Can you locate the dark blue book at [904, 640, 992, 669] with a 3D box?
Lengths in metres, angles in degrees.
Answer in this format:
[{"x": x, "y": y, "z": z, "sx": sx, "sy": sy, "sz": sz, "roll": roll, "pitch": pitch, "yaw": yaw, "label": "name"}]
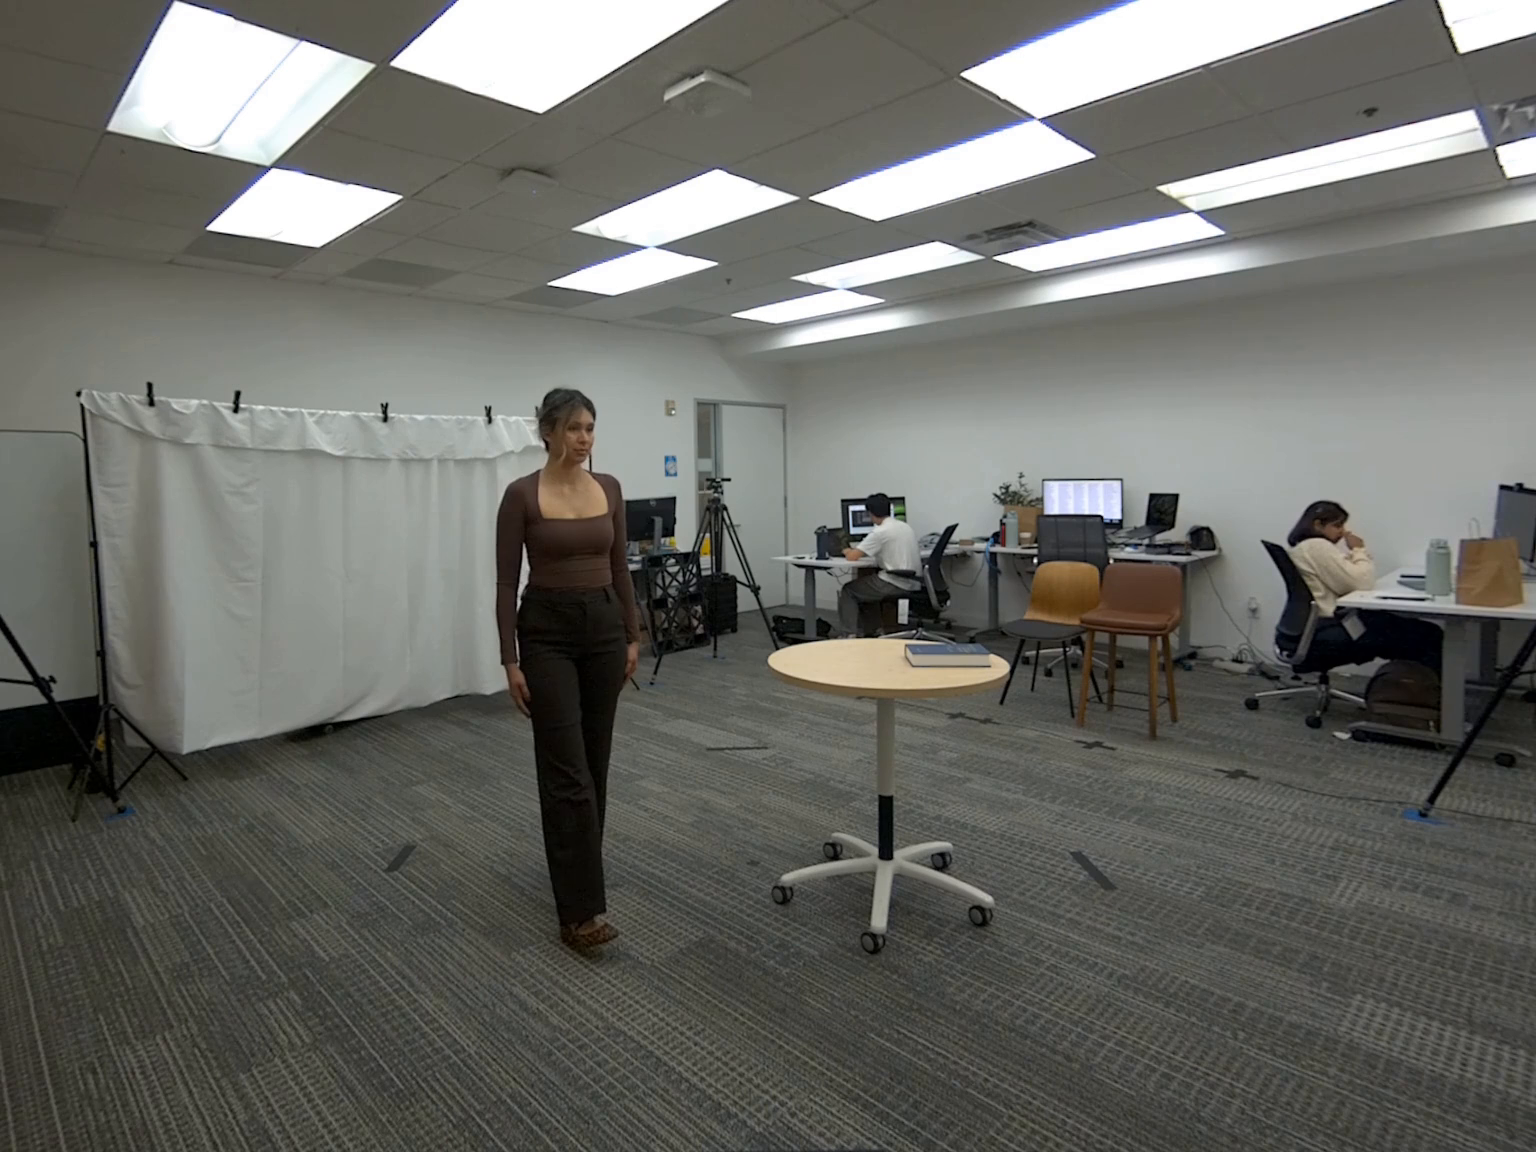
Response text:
[{"x": 0.577, "y": 0.251, "z": 2.748, "sx": 0.246, "sy": 0.045, "sz": 0.164, "roll": 0, "pitch": 7, "yaw": 2, "label": "dark blue book"}]
